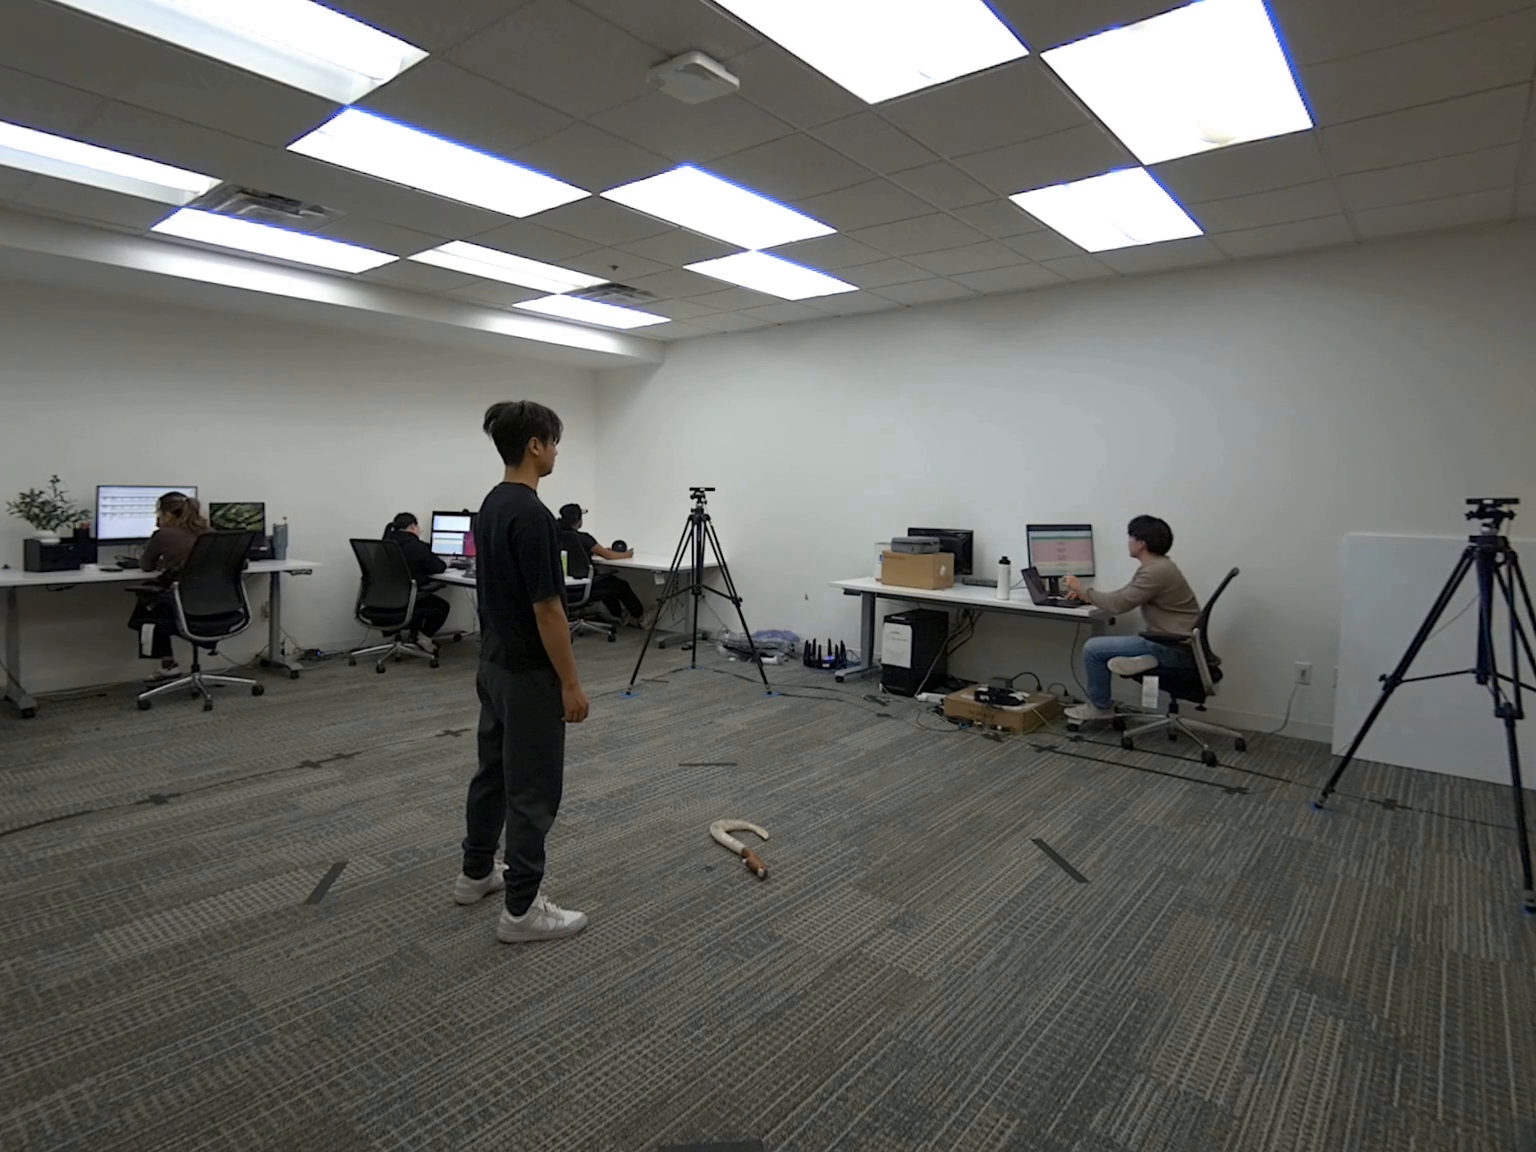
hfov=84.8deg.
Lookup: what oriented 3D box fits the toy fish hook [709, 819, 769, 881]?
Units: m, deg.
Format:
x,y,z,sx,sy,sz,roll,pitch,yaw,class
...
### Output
x,y,z,sx,sy,sz,roll,pitch,yaw,class
-0.071,1.030,3.268,0.220,0.048,0.520,-3,7,-22,toy fish hook
